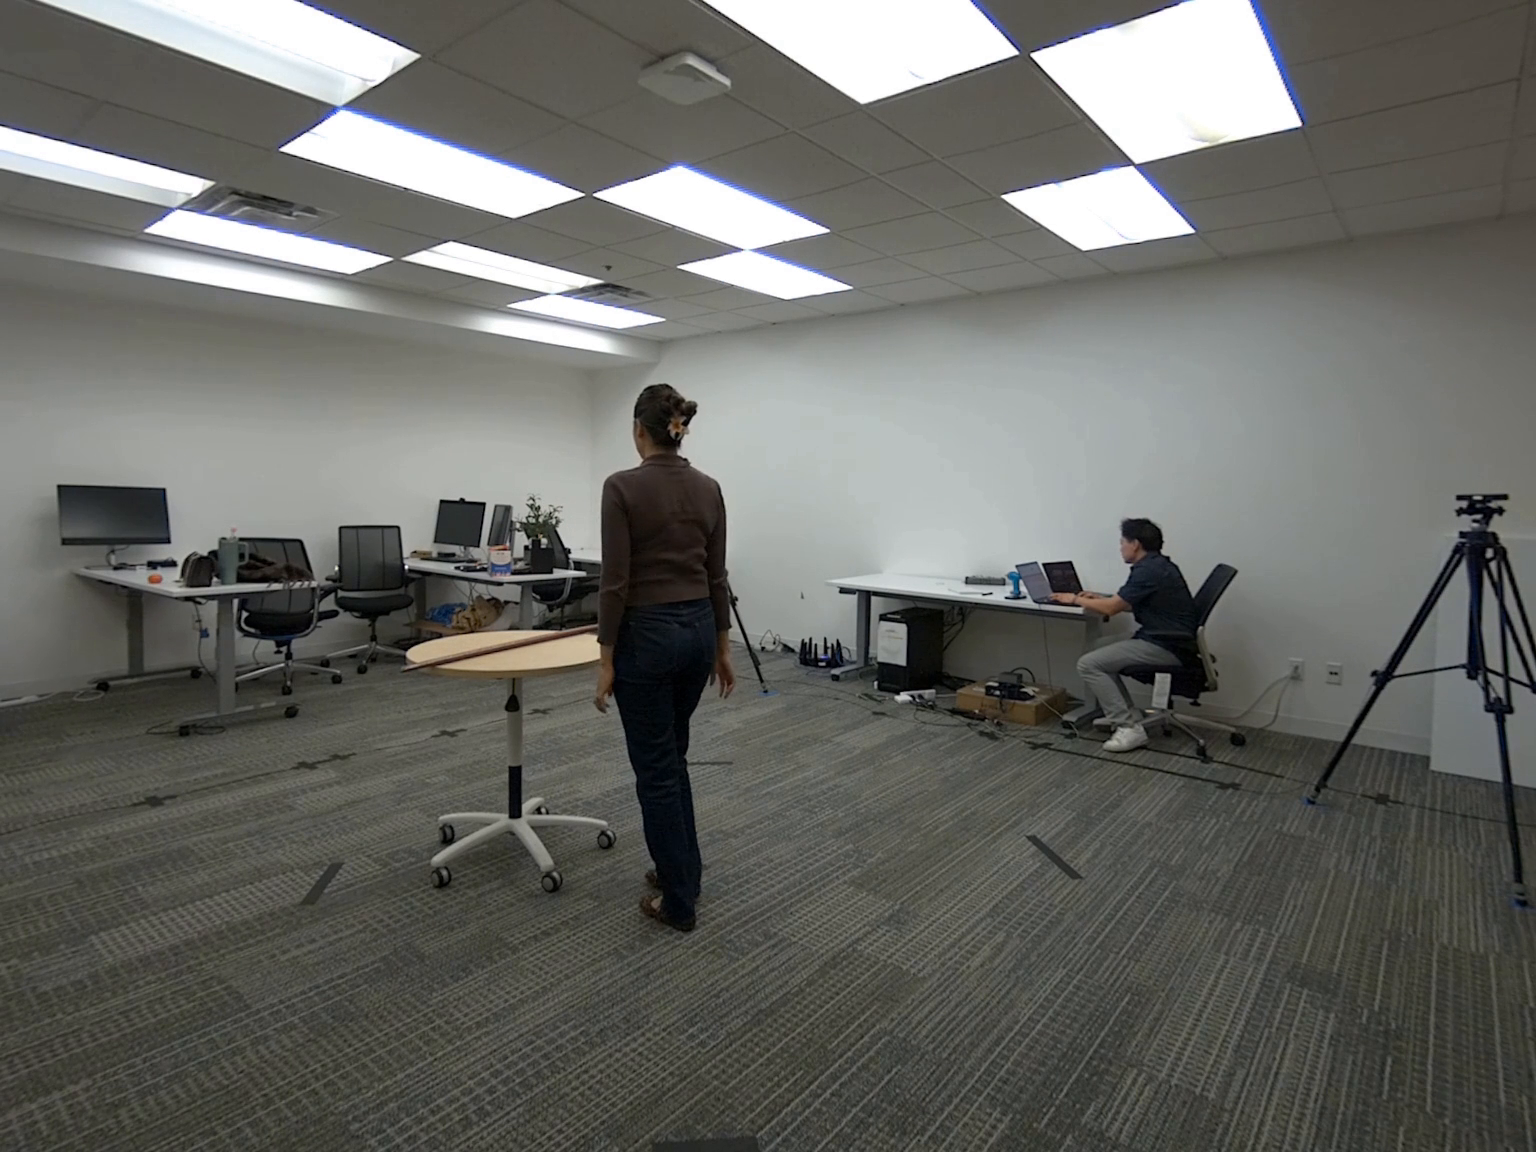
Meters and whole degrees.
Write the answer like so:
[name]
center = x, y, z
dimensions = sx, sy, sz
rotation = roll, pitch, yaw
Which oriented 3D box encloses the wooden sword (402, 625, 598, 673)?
[wooden sword]
center = -0.971, 0.258, 3.233
dimensions = 0.024, 0.052, 0.998
rotation = -27, -9, 30
